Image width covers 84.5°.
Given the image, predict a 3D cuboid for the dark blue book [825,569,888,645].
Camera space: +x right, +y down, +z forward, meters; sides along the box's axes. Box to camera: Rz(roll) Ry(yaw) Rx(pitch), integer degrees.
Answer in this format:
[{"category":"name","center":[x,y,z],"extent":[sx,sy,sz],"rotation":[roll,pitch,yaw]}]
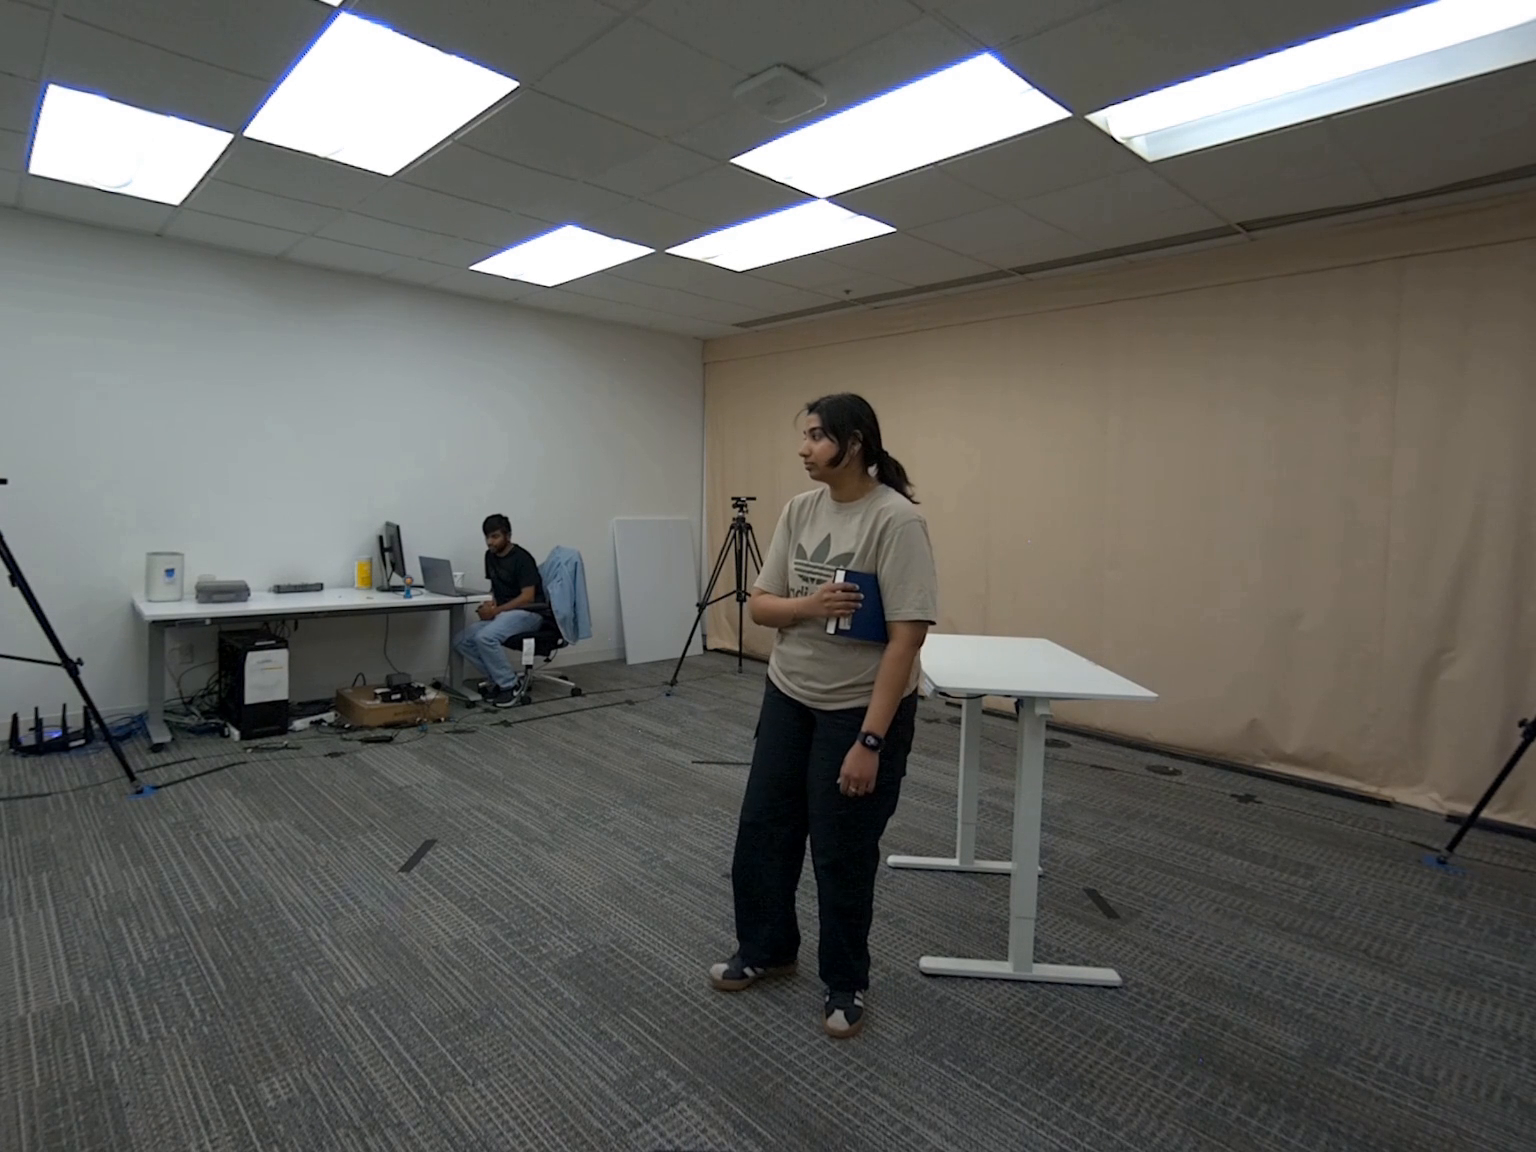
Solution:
[{"category":"dark blue book","center":[0.258,0.079,2.116],"extent":[0.240,0.164,0.046],"rotation":[11,-4,-24]}]
